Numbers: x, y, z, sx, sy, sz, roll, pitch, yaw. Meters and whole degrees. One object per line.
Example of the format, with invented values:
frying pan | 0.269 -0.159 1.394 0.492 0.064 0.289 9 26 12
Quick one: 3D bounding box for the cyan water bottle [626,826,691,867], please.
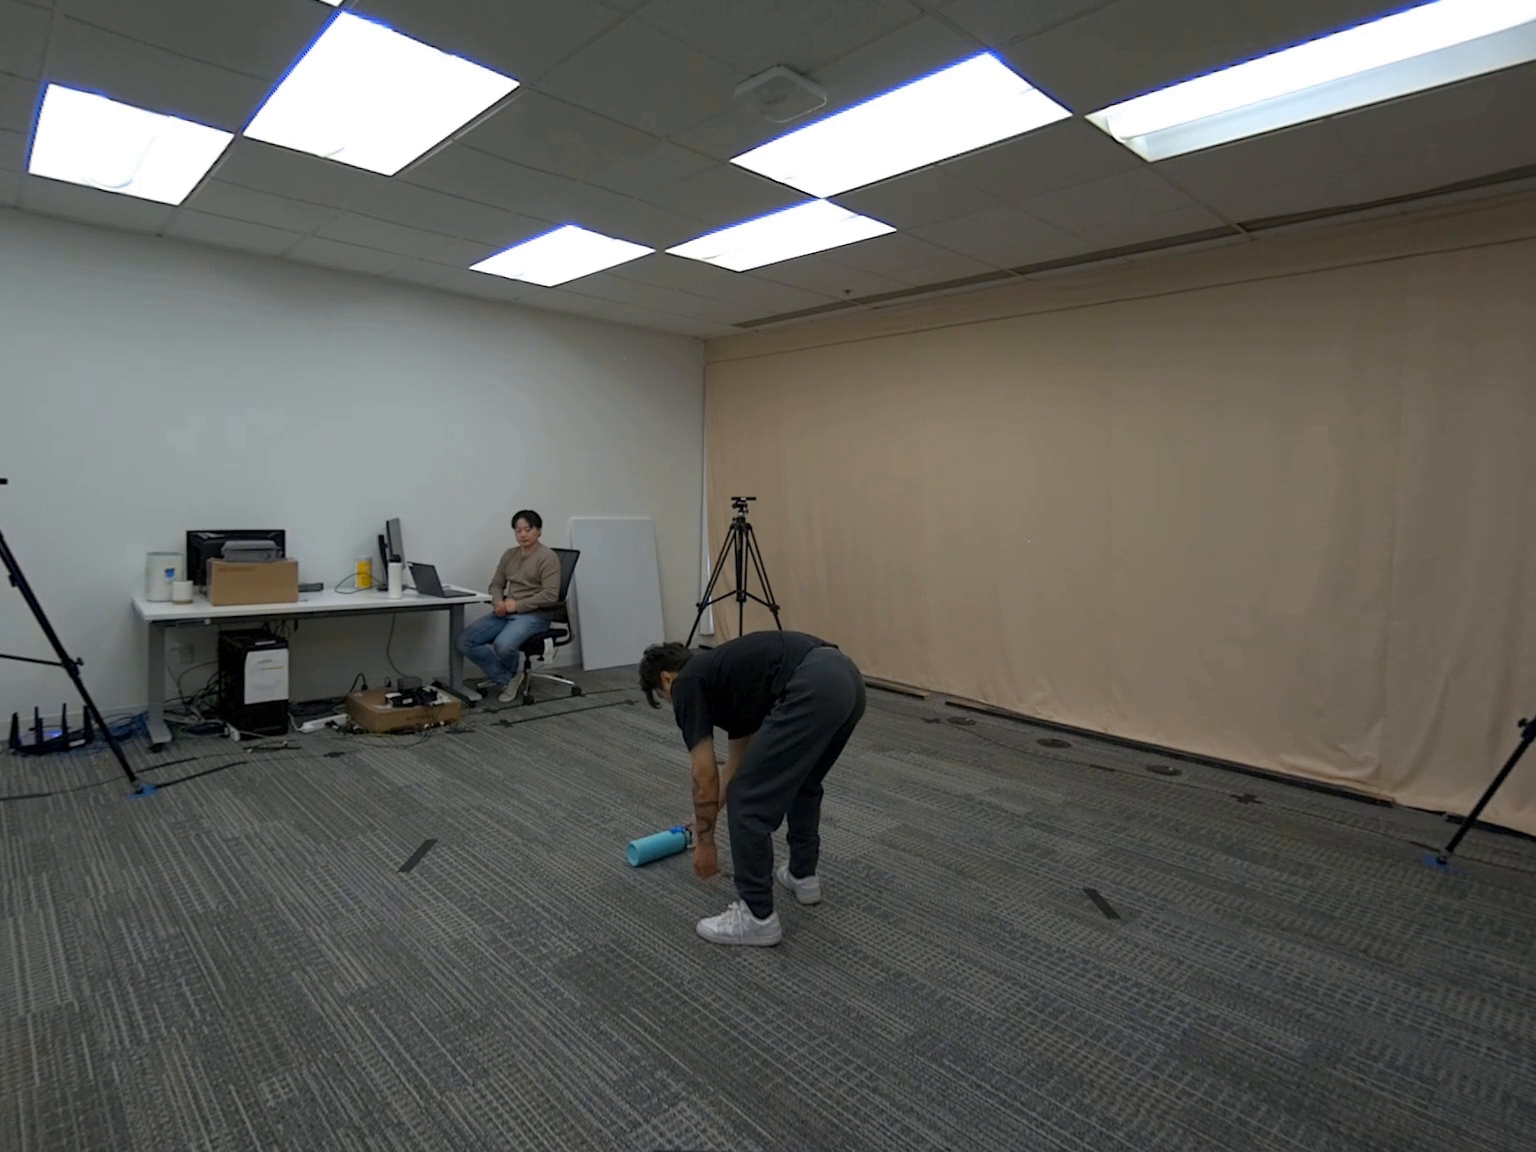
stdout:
cyan water bottle | -0.417 1.043 3.258 0.277 0.092 0.095 -1 5 -44
